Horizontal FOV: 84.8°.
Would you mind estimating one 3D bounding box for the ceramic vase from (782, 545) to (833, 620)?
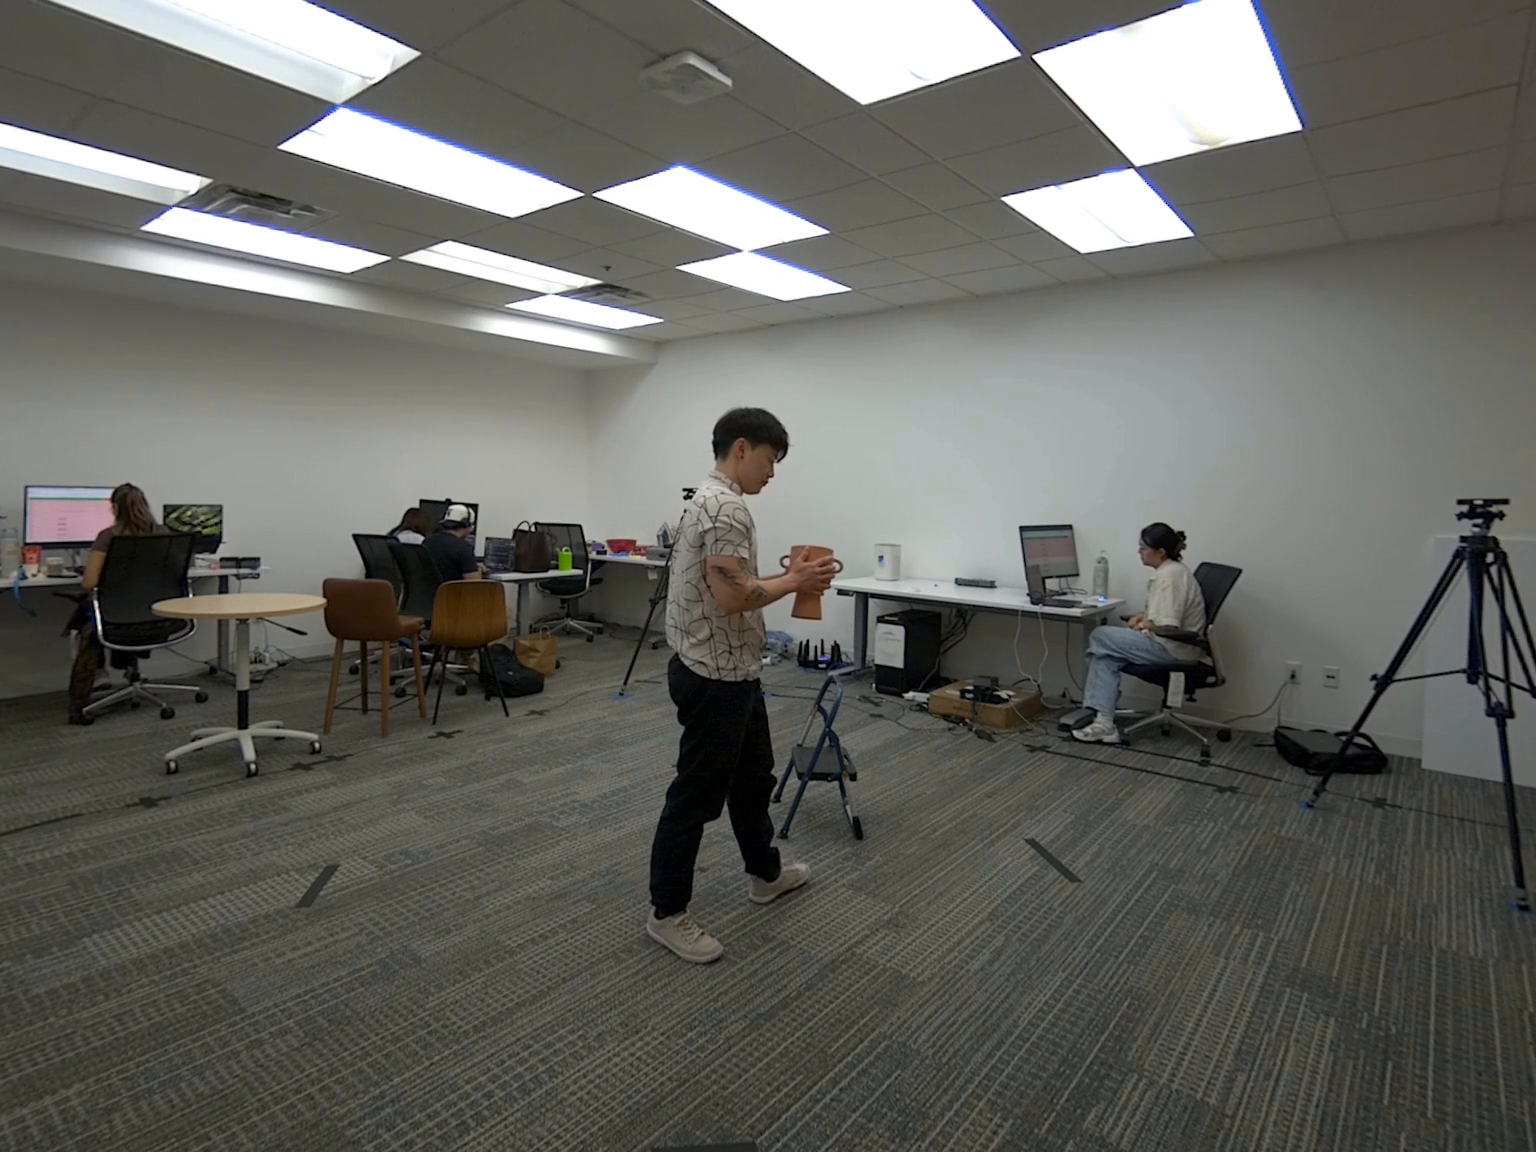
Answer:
[{"bbox_3d":[0.125,0.023,2.651,0.164,0.221,0.130,0,-9,39],"label":"ceramic vase"}]
